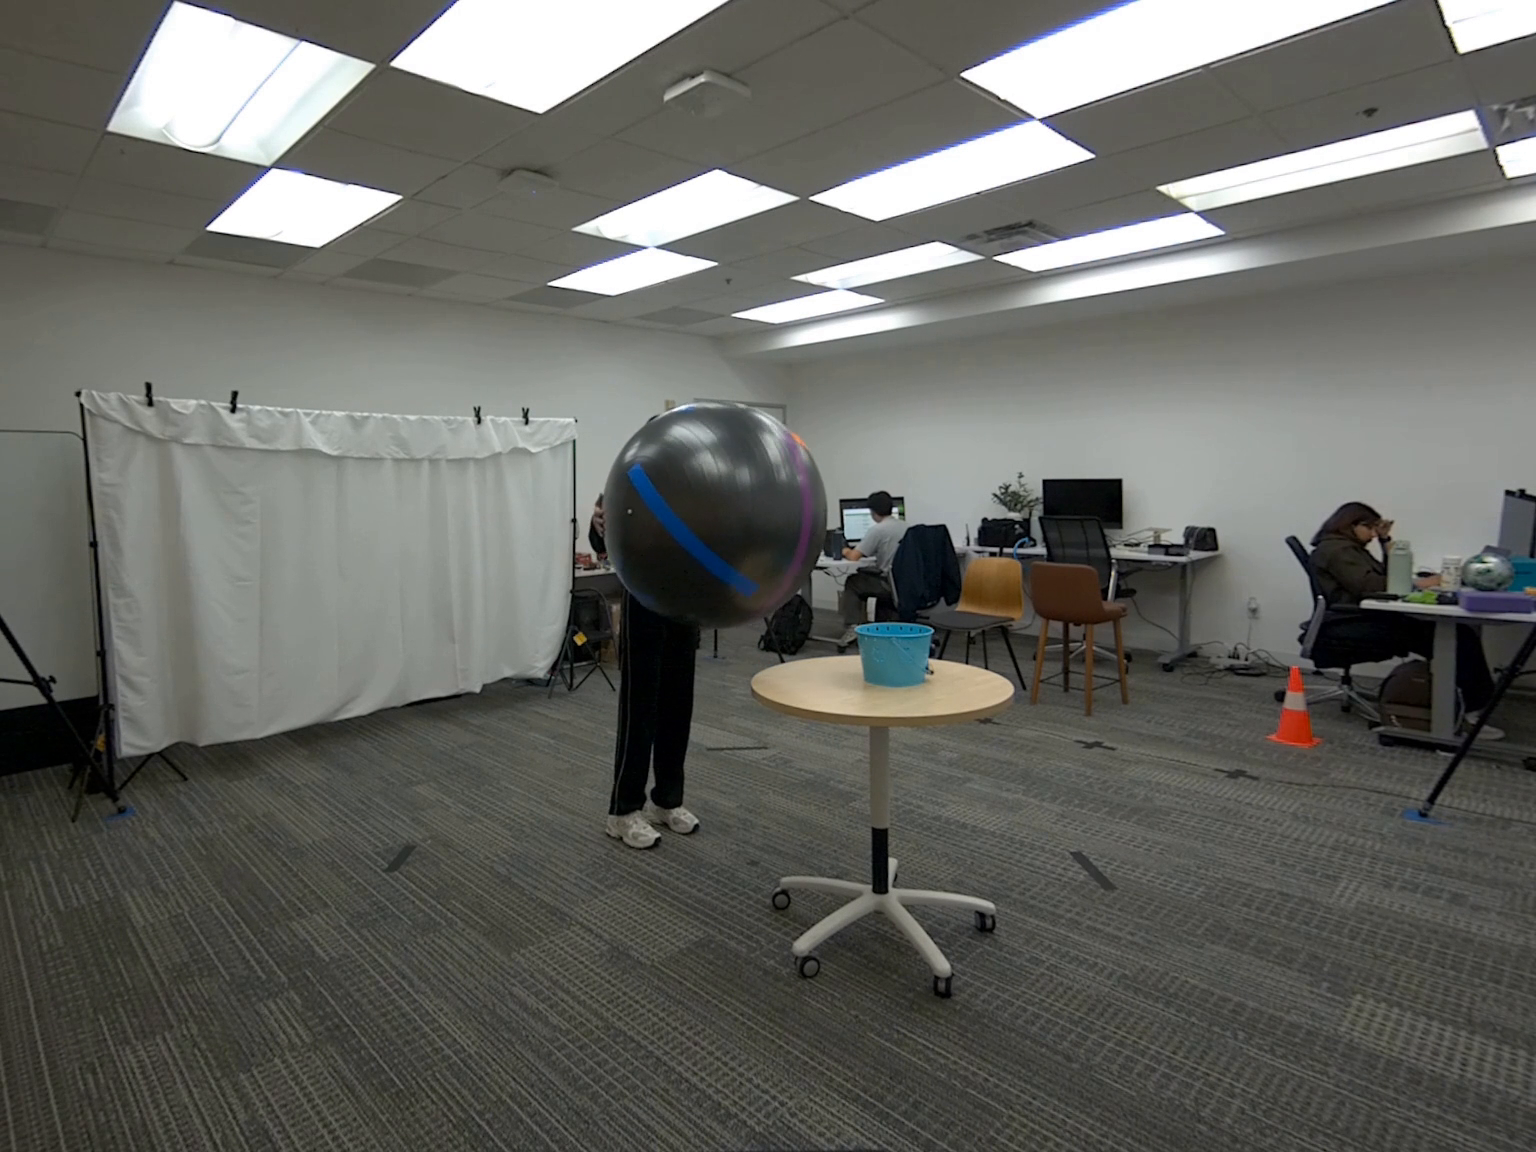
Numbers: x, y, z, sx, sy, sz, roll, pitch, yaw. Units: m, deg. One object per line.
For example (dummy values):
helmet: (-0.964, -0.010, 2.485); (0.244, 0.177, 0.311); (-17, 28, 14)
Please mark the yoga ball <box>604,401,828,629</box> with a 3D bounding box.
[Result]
yoga ball: (-0.183, -0.197, 2.861); (0.757, 0.755, 0.762); (-1, 5, -2)
